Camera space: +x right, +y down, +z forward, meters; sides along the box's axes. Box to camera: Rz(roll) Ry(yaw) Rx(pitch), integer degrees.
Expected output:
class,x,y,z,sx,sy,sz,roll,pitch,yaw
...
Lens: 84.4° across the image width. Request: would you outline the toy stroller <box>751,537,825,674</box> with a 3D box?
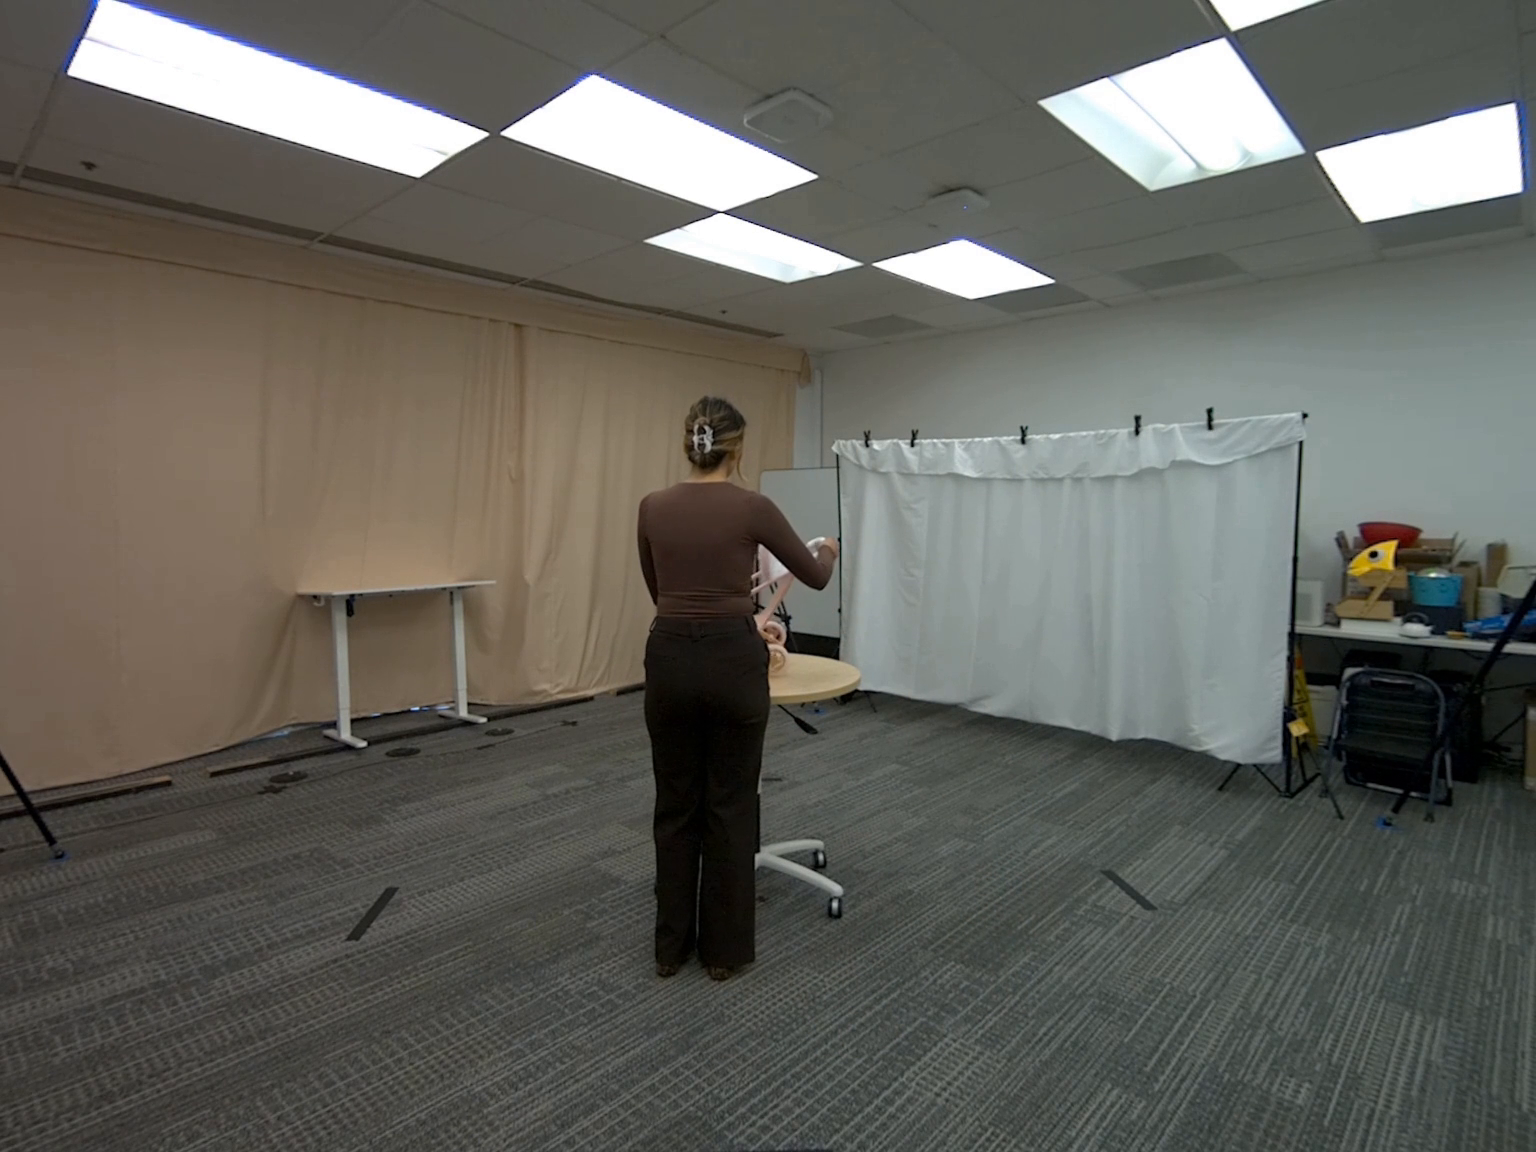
class,x,y,z,sx,sy,sz,roll,pitch,yaw
toy stroller,-0.043,0.079,2.990,0.343,0.533,0.281,19,12,2
